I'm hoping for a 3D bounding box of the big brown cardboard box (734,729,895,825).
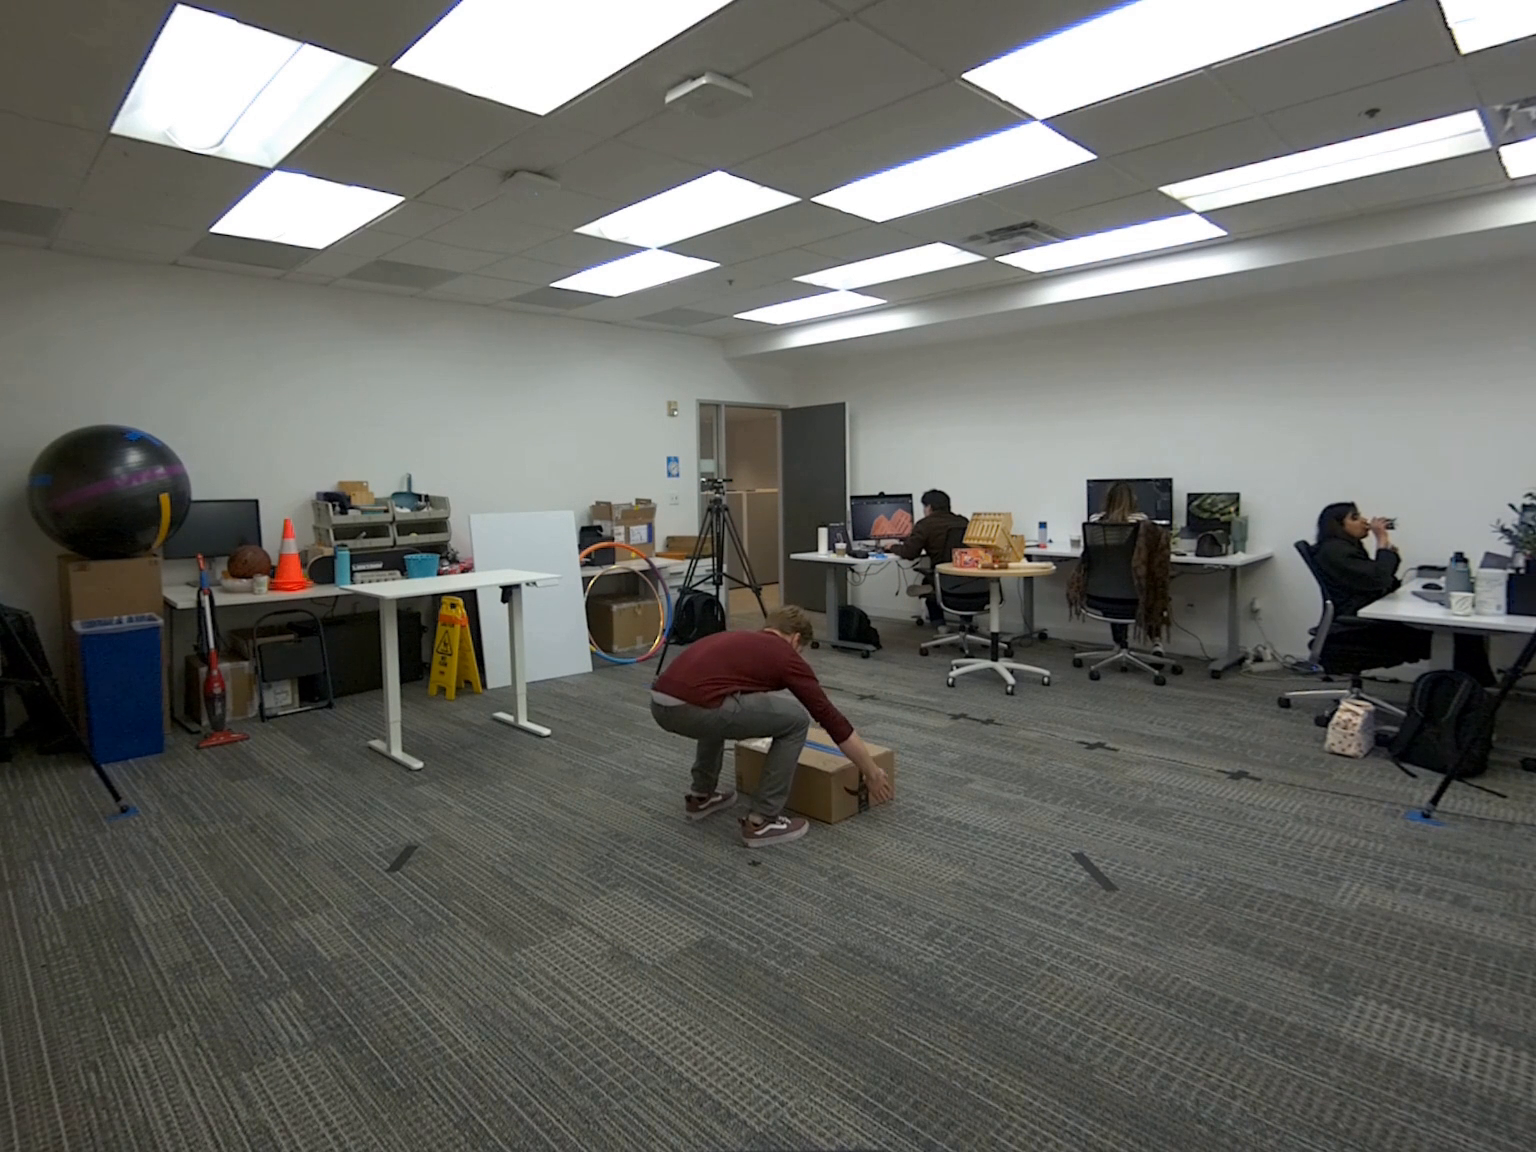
[{"bbox_3d":[0.195,0.856,3.773,0.406,0.232,0.607,-6,9,-45],"label":"big brown cardboard box"}]
